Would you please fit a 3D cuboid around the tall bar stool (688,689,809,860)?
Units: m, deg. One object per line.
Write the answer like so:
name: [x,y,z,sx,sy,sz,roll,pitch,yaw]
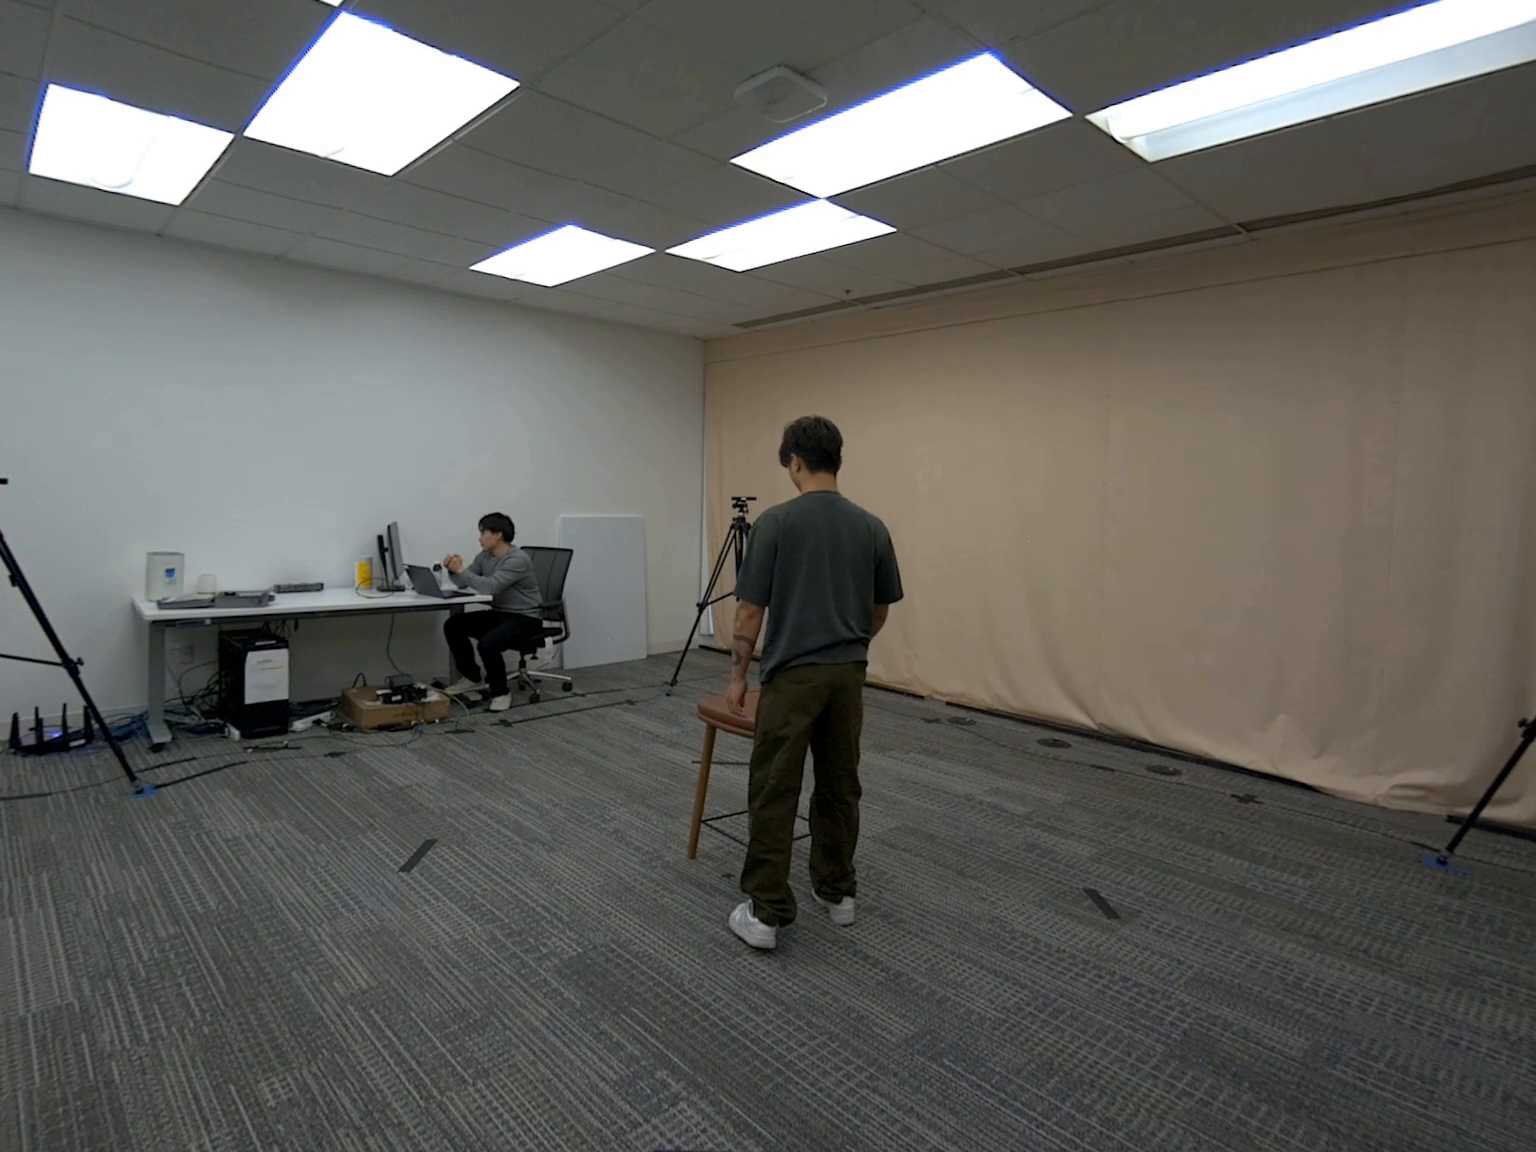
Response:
tall bar stool: [-0.003,0.666,3.223,0.456,0.888,0.468,1,3,-40]
